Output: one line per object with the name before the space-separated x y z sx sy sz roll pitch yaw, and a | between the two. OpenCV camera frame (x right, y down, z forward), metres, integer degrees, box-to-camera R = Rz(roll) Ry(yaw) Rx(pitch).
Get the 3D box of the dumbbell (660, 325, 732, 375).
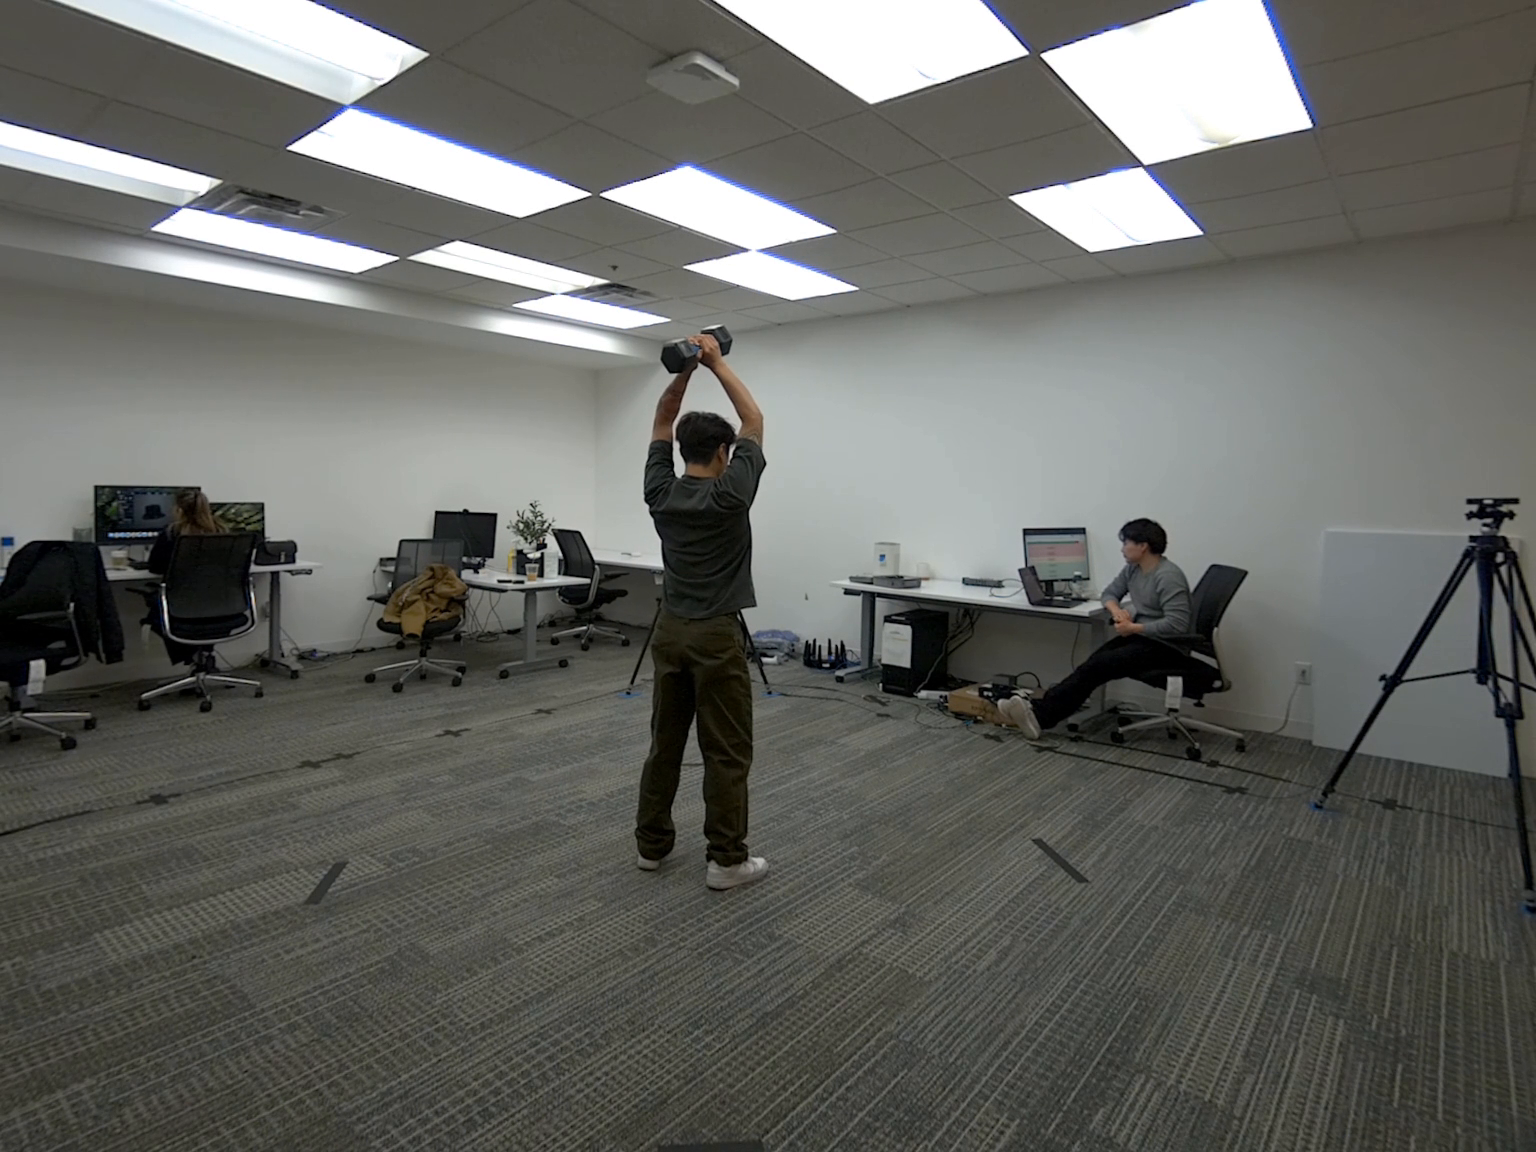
dumbbell | -0.257 -0.815 3.043 0.109 0.123 0.291 -37 0 44
